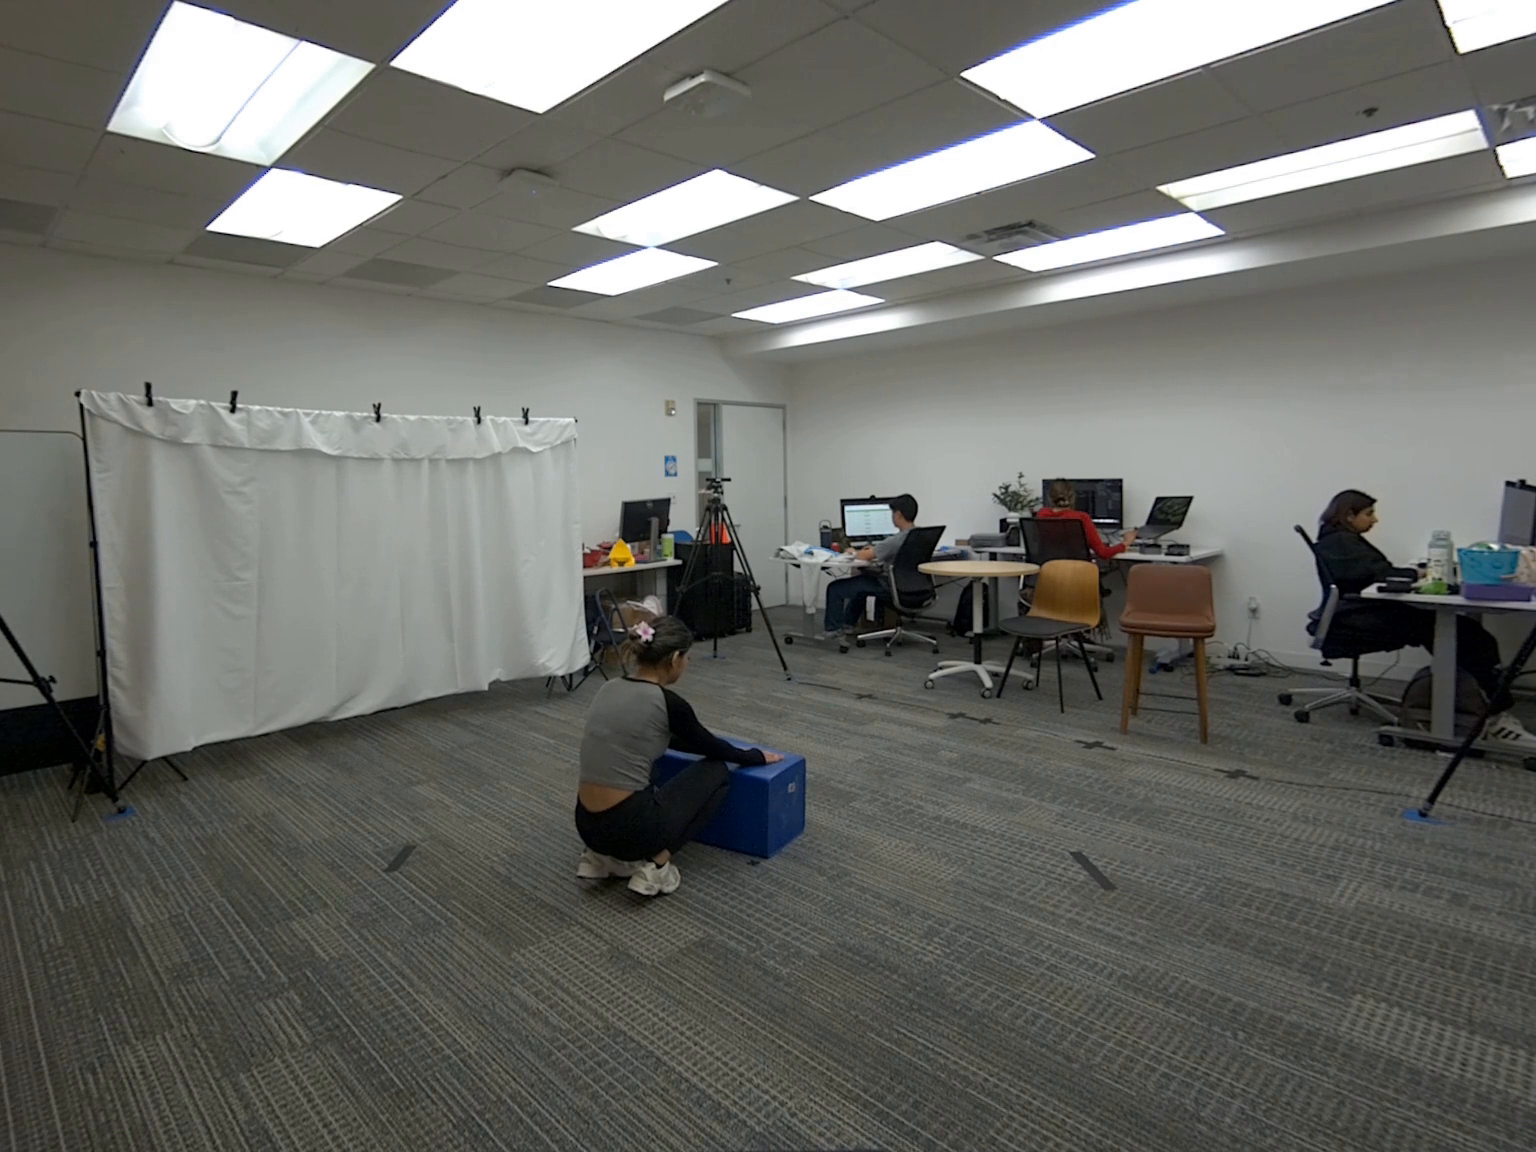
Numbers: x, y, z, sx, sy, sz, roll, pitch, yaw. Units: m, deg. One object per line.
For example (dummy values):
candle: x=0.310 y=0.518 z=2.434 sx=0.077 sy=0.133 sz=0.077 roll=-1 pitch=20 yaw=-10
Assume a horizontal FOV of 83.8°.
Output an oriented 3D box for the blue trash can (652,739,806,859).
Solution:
blue trash can: x=-0.236 y=0.842 z=3.424 sx=0.734 sy=0.376 sz=0.365 roll=5 pitch=6 yaw=31
